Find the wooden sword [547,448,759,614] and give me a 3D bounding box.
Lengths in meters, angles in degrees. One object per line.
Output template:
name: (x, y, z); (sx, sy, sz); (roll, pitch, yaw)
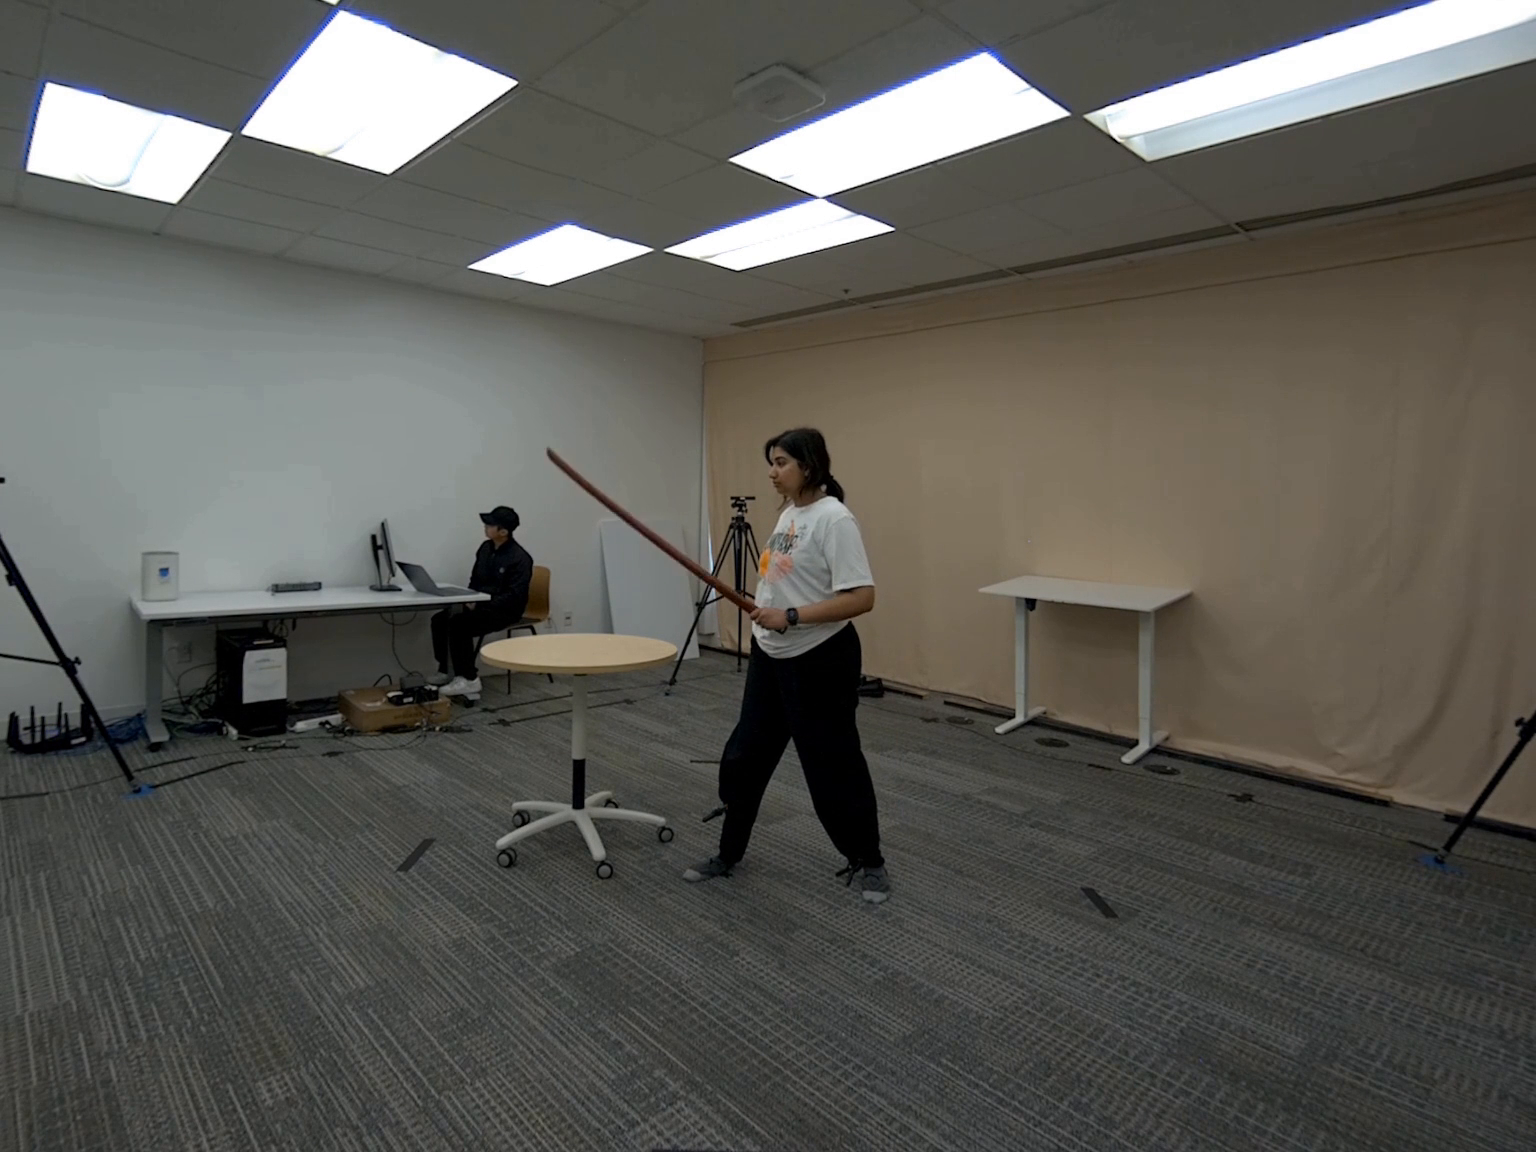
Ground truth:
wooden sword: (-0.353, -0.108, 2.865); (1.032, 0.024, 0.051); (39, -26, 6)
